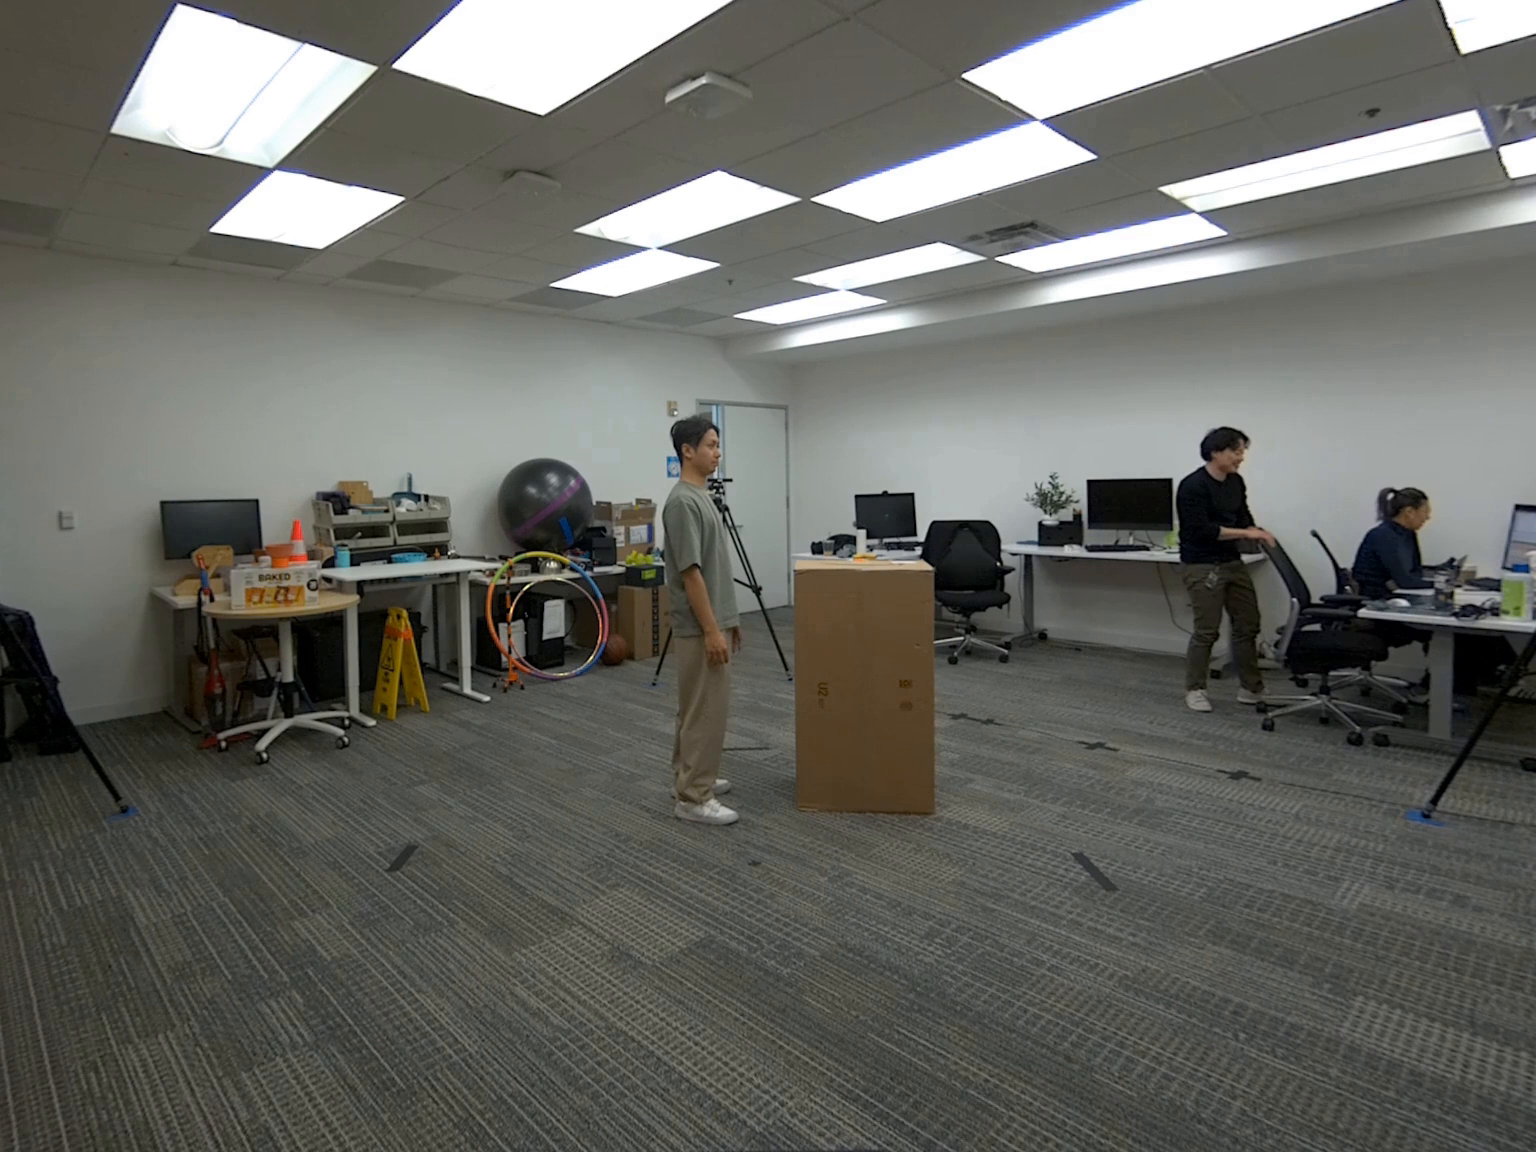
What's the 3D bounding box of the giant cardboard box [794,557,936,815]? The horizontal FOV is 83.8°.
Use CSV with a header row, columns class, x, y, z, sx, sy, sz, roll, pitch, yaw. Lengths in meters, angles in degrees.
class,x,y,z,sx,sy,sz,roll,pitch,yaw
giant cardboard box,0.413,0.453,3.740,0.581,1.022,0.425,-1,4,6
